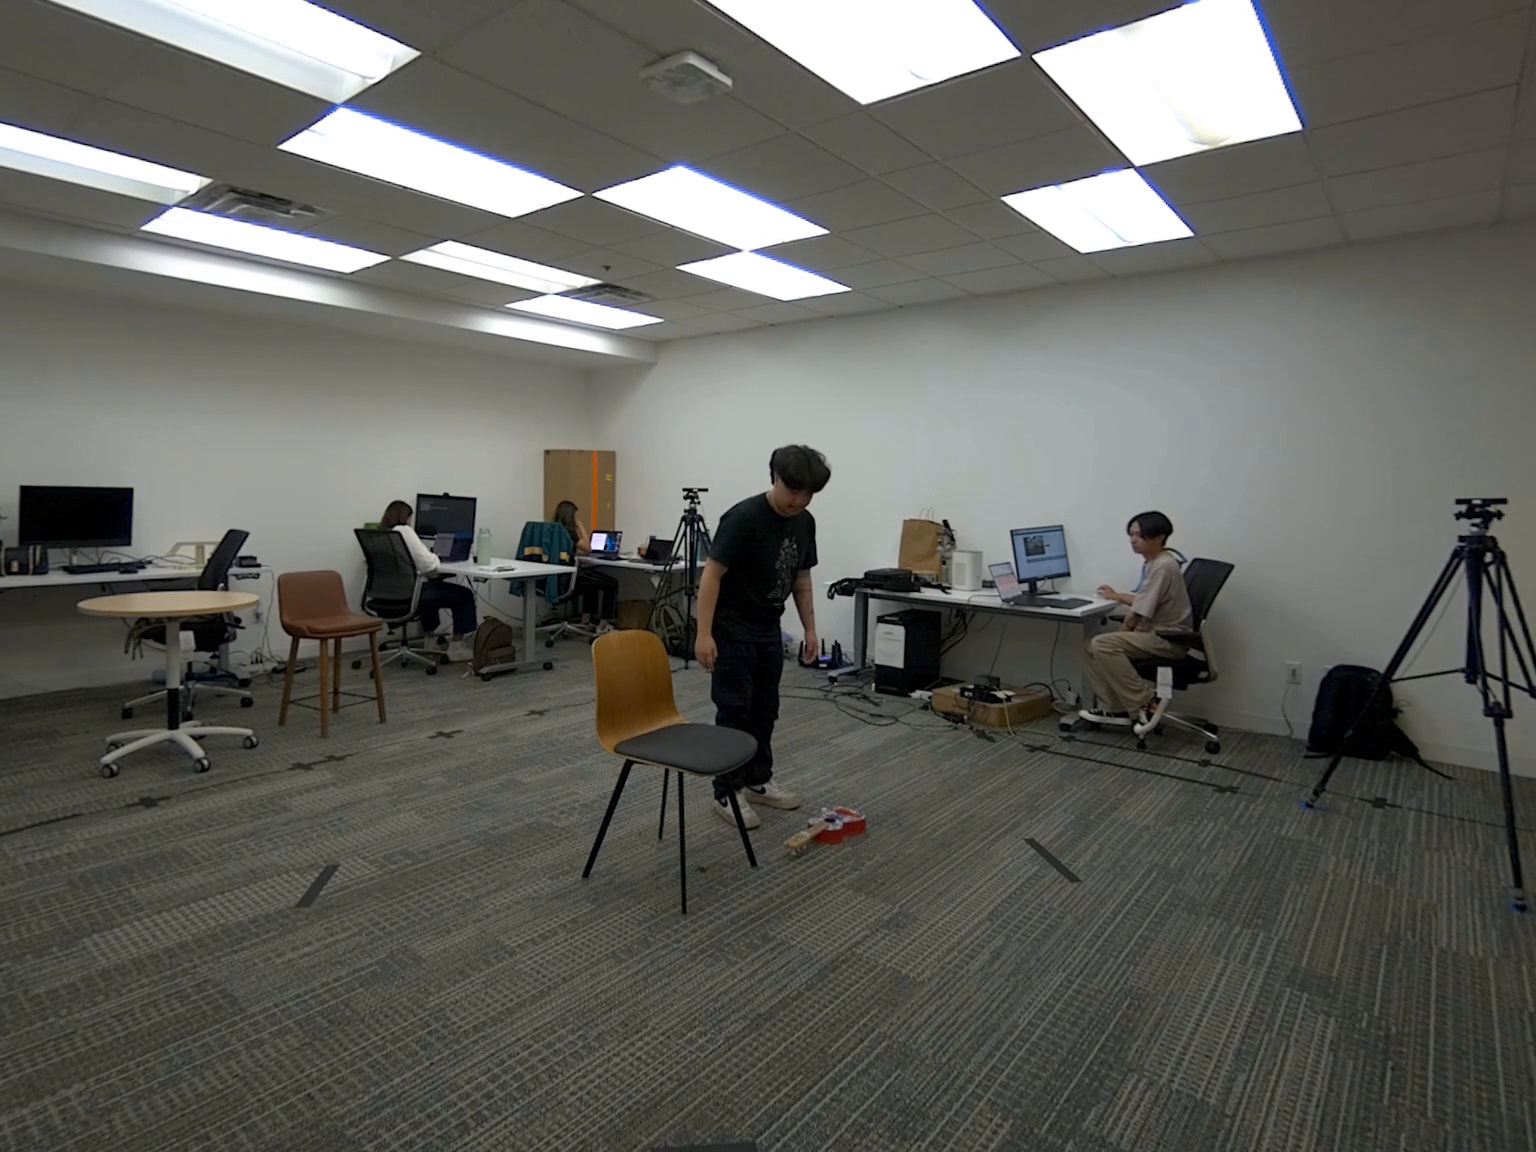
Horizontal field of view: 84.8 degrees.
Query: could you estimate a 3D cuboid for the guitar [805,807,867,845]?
[{"bbox_3d":[0.187,1.018,3.410,0.200,0.070,0.483,7,7,43],"label":"guitar"}]
